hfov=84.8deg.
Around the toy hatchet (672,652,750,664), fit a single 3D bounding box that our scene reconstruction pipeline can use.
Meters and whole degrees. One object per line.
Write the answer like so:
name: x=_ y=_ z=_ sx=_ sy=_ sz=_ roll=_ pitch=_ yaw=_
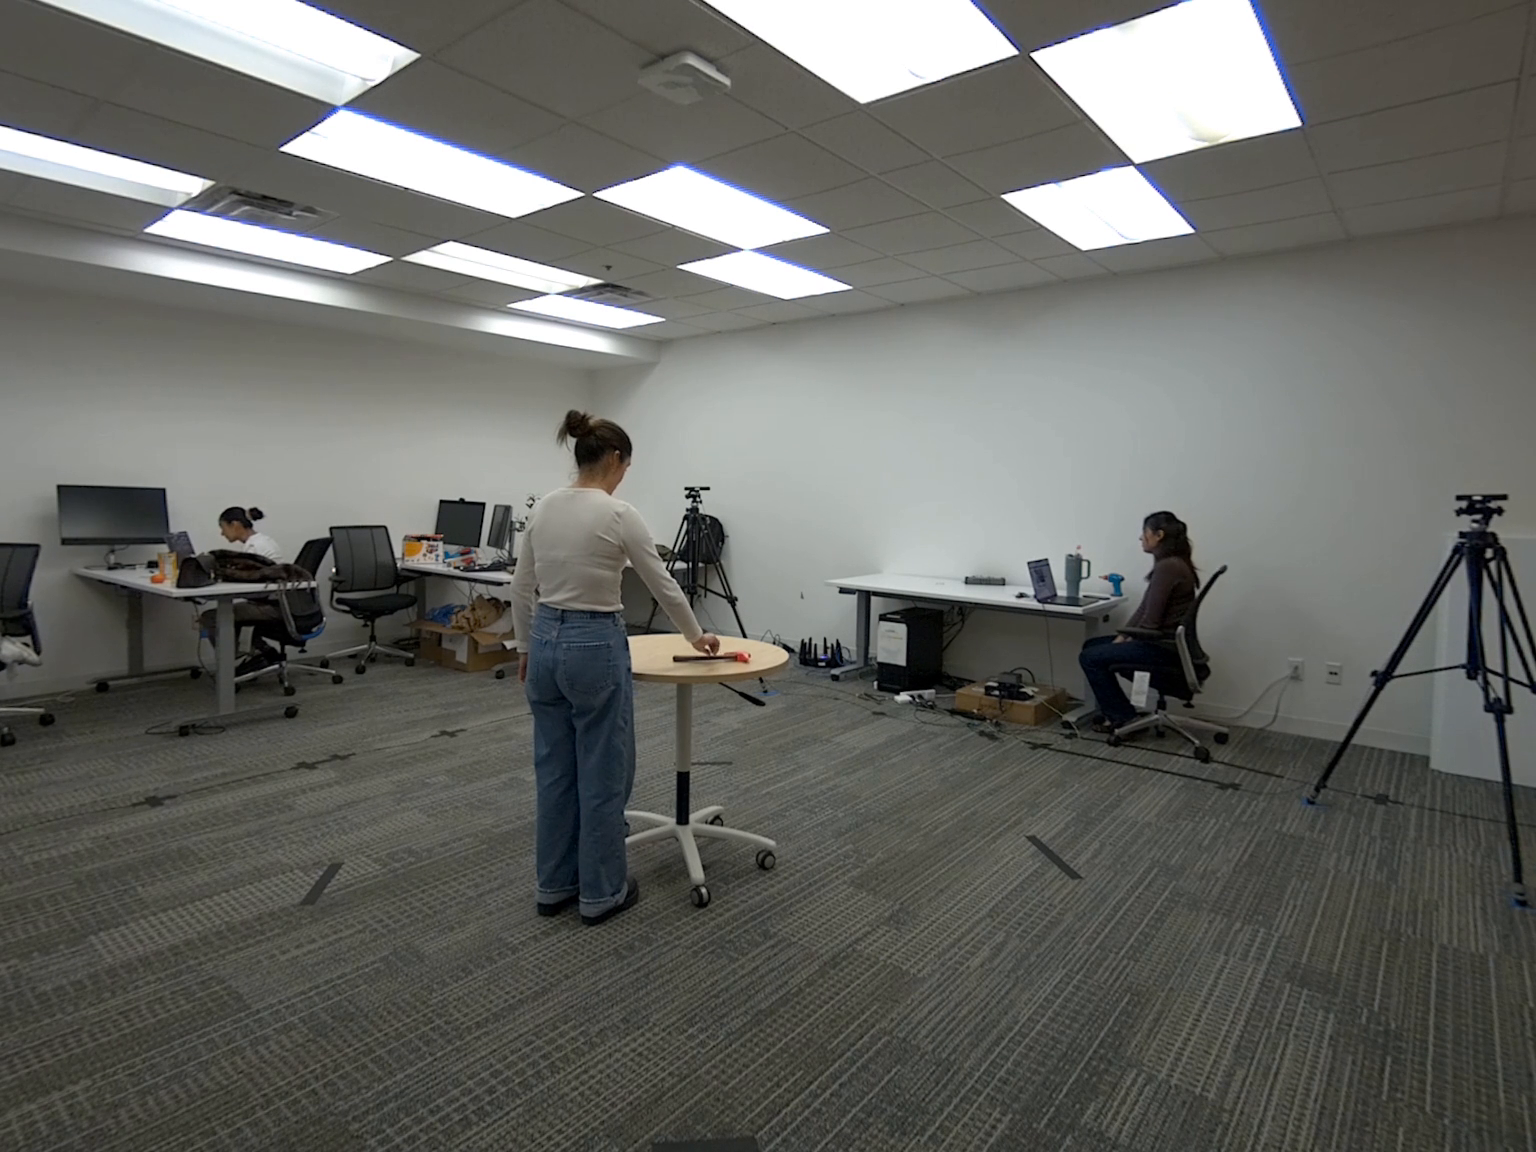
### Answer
toy hatchet: x=-0.209 y=0.281 z=3.013 sx=0.271 sy=0.029 sz=0.131 roll=0 pitch=7 yaw=2
